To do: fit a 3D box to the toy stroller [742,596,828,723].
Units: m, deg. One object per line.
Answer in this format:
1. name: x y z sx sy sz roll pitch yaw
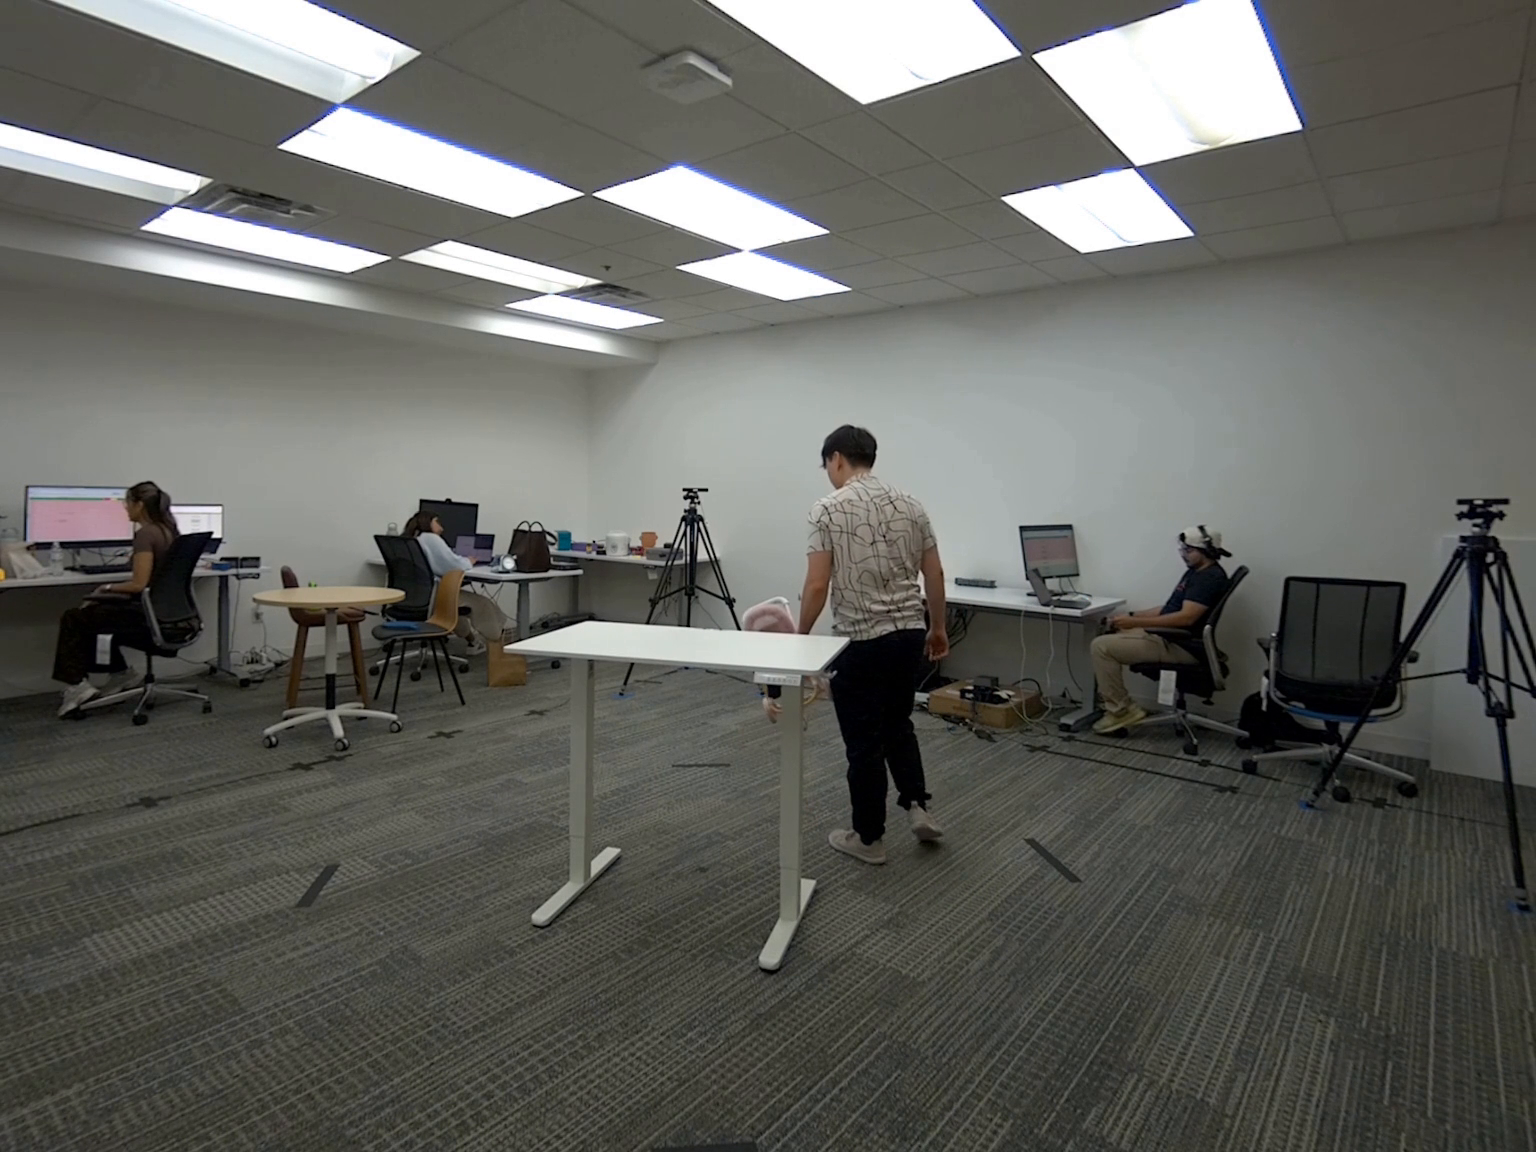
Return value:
1. toy stroller: 0.039 0.341 3.361 0.283 0.544 0.334 -23 -12 10
